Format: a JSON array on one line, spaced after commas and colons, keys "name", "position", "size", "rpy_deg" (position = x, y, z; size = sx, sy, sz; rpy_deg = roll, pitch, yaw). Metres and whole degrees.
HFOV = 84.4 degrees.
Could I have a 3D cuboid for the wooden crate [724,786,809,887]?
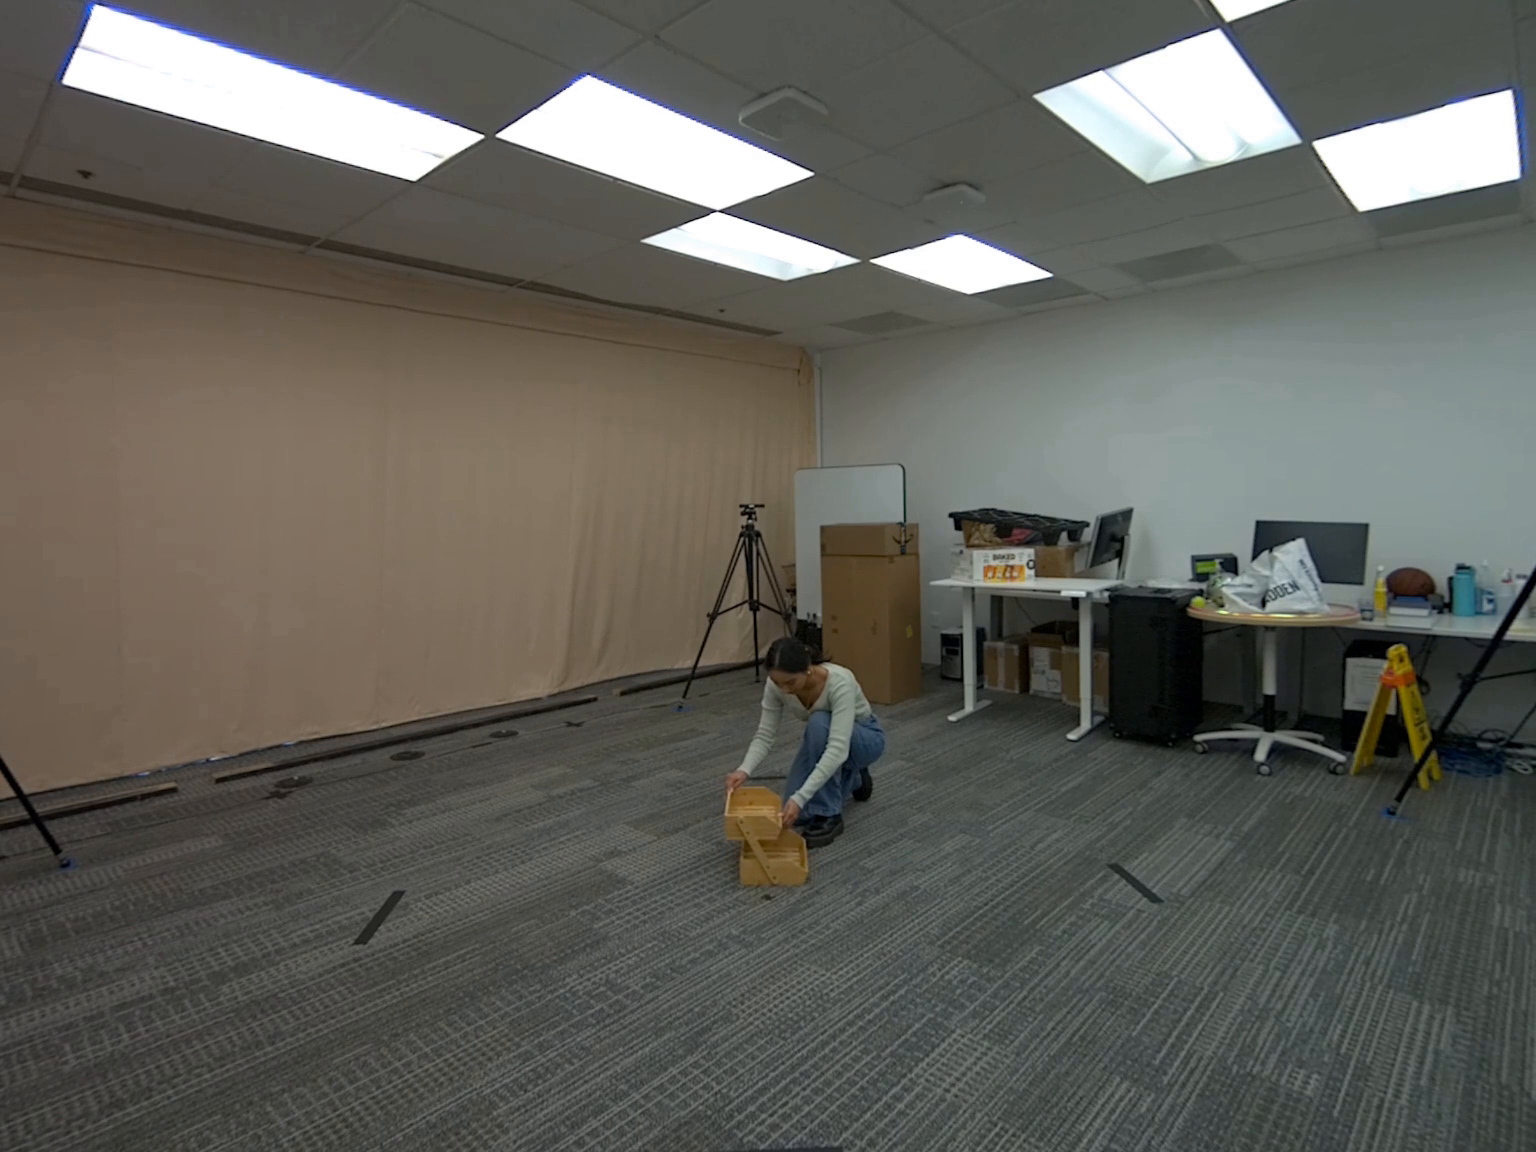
[{"name": "wooden crate", "position": [0.007, 0.985, 3.227], "size": [0.302, 0.273, 0.325], "rpy_deg": [0, 4, 0]}]
